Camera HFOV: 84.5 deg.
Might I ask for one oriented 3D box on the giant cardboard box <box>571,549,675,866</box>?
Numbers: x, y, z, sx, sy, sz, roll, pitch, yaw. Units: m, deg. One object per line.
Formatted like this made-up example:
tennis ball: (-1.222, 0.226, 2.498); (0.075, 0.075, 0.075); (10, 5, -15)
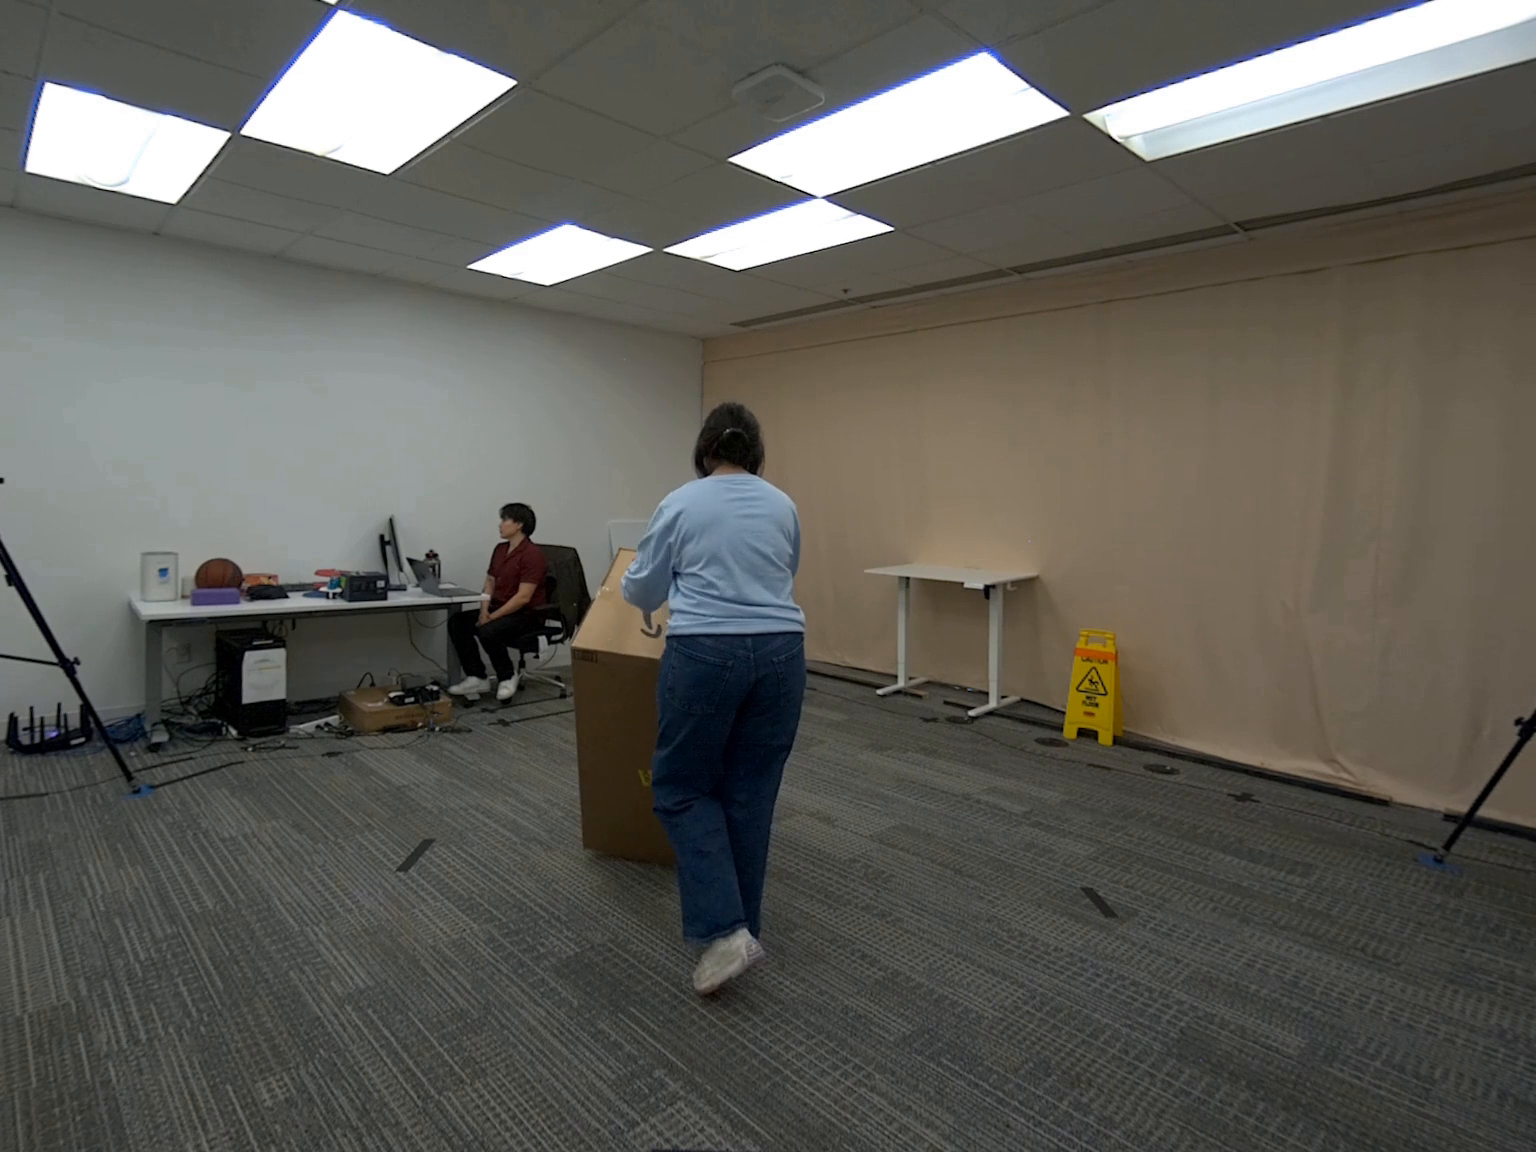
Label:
giant cardboard box: (-0.425, 0.508, 3.131); (0.449, 1.007, 0.592); (7, 35, 4)
